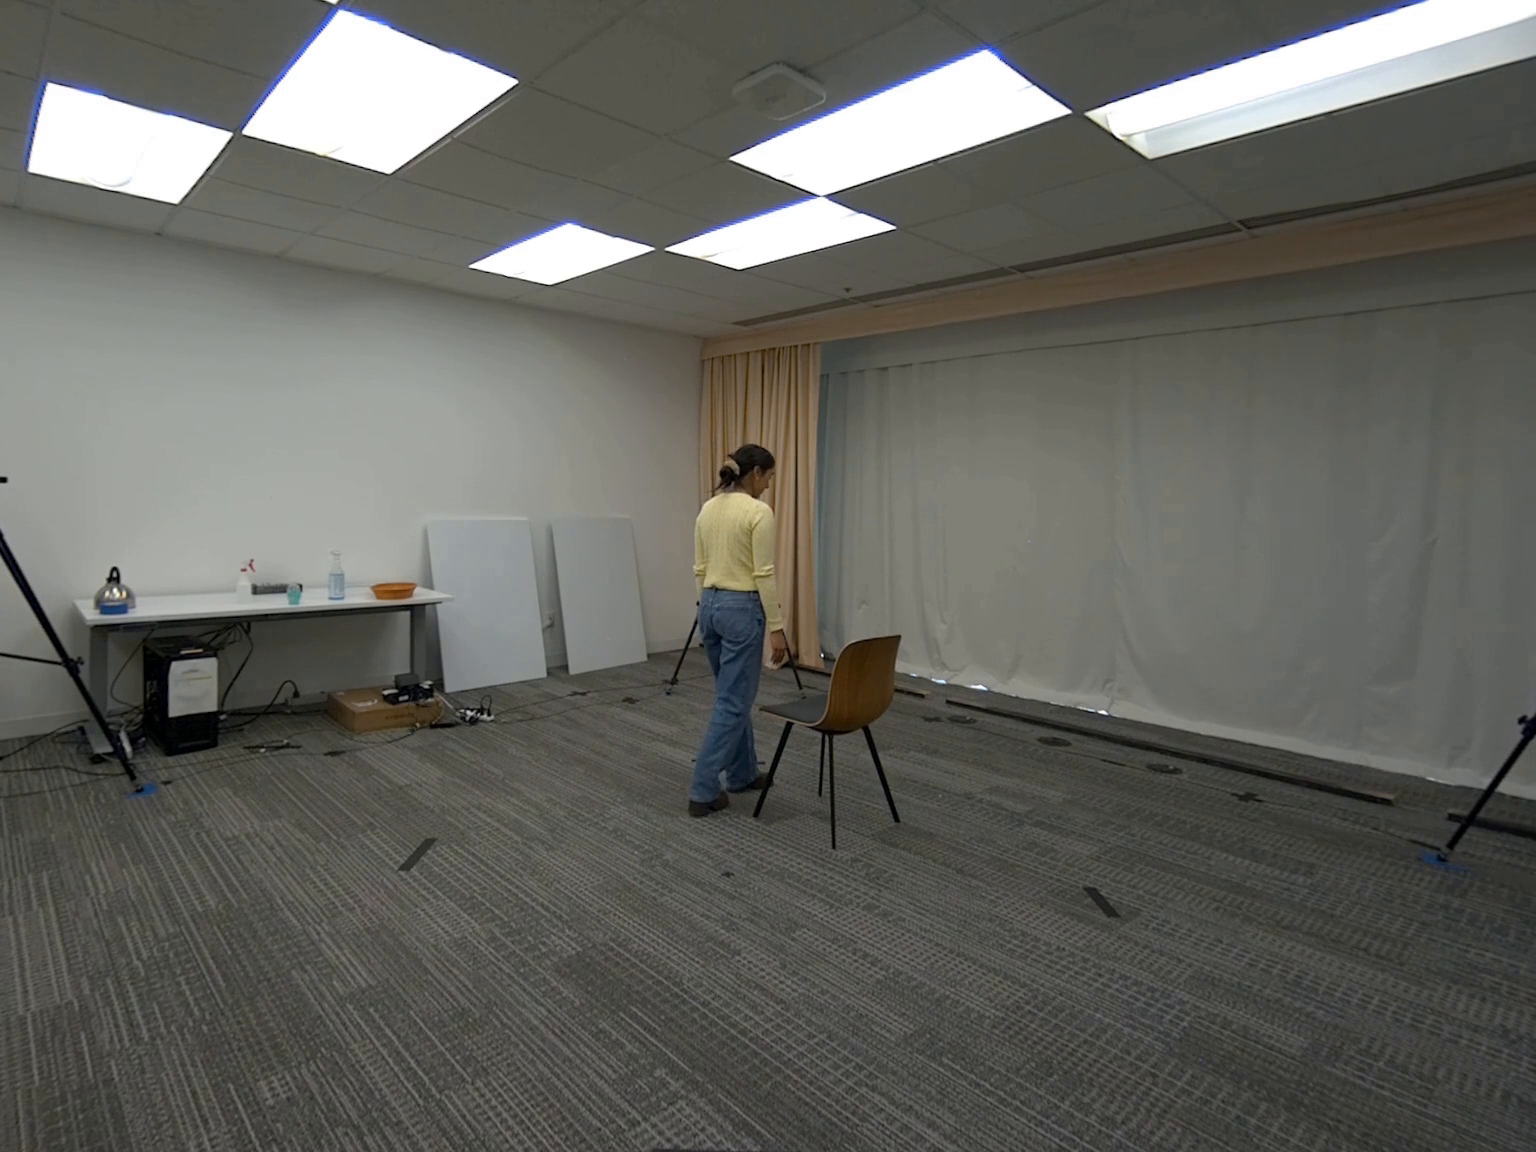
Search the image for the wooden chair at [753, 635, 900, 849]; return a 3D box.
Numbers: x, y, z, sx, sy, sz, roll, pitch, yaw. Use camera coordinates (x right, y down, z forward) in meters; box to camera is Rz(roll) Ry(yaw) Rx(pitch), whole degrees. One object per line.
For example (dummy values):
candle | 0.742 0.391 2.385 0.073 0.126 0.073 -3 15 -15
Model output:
wooden chair | 0.252 0.636 3.635 0.537 0.874 0.467 10 8 44
